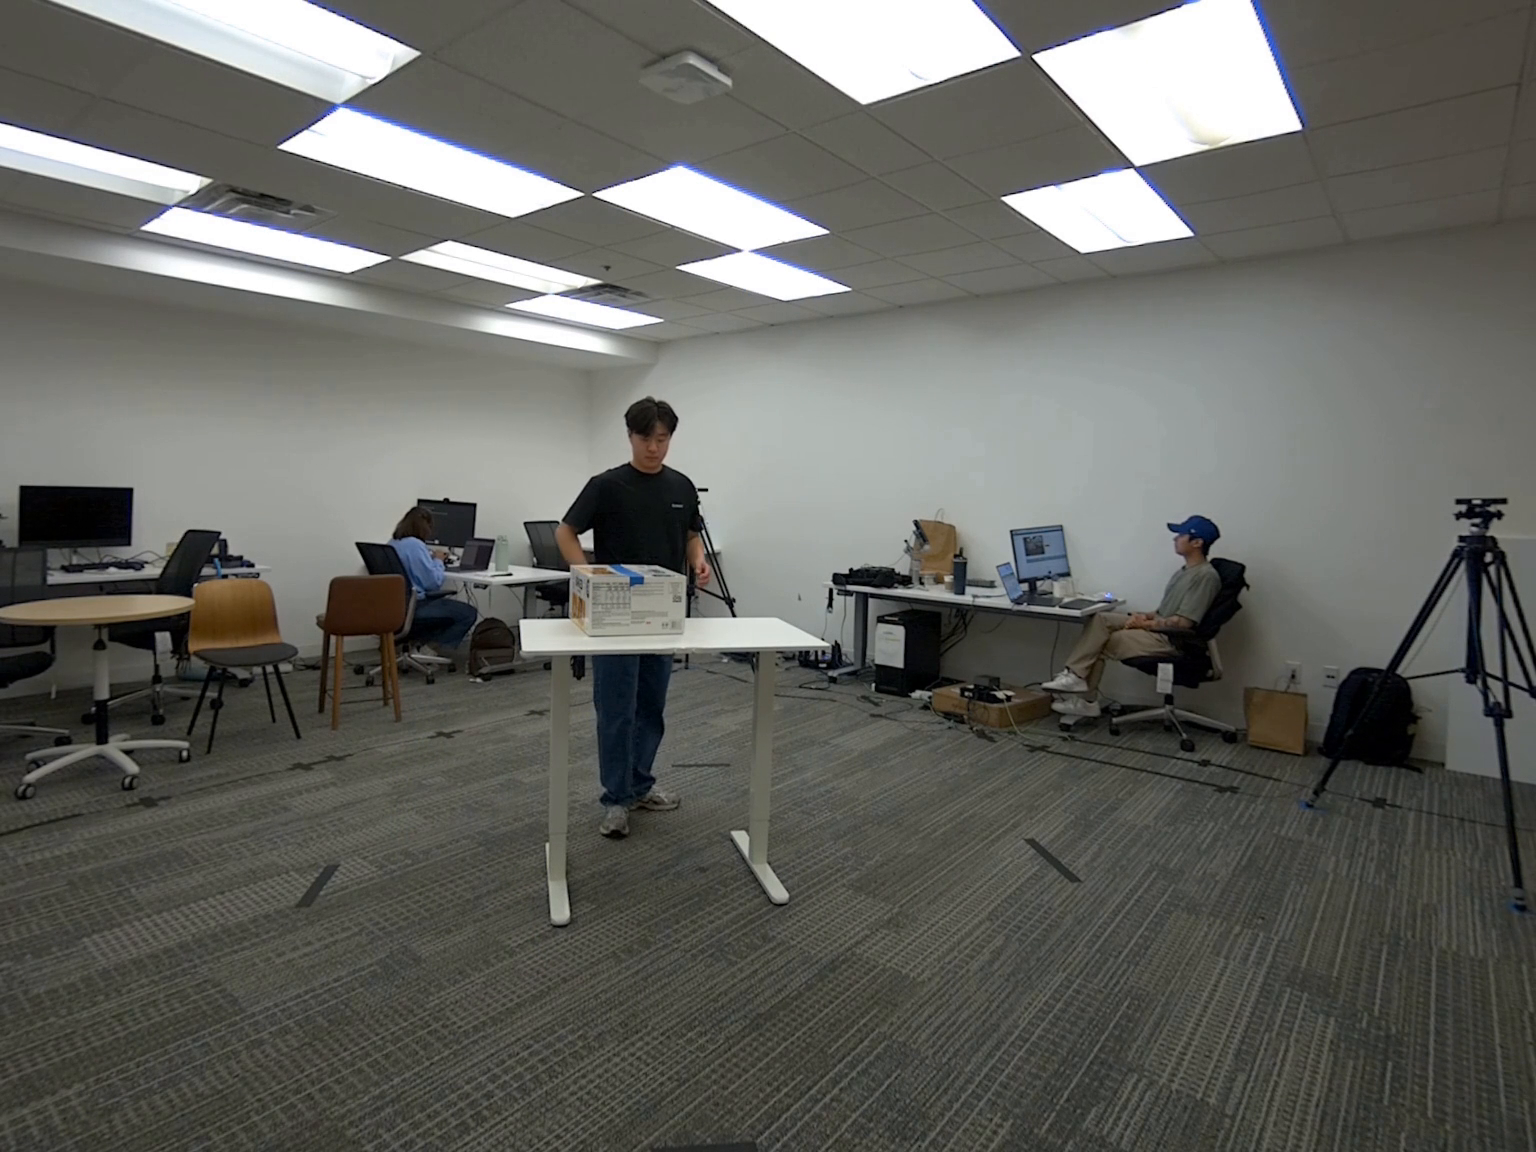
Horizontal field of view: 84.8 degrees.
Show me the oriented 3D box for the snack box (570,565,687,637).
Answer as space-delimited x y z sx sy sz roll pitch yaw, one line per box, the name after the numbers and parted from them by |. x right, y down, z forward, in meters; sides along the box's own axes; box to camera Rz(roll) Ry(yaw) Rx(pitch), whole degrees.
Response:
-0.531 0.077 3.087 0.333 0.205 0.415 0 6 -21 | snack box
